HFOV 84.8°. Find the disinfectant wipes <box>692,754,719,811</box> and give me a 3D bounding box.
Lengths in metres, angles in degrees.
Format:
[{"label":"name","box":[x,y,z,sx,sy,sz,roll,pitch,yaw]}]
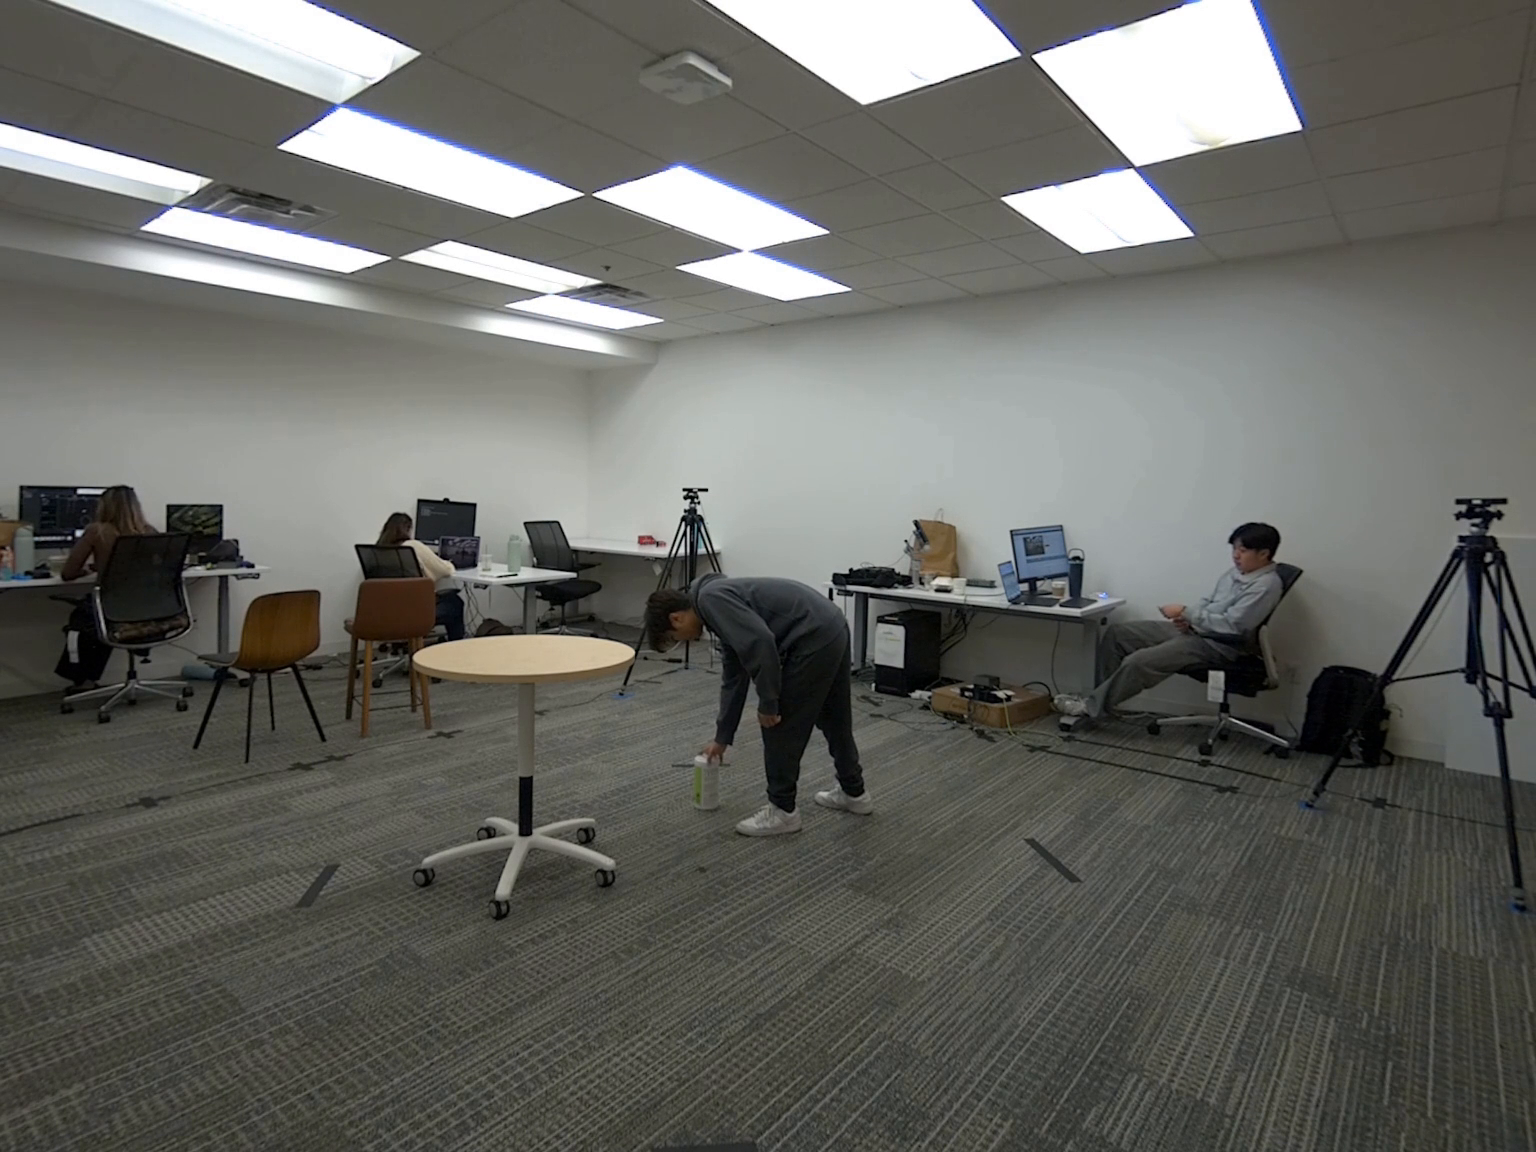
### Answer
[{"label":"disinfectant wipes","box":[-0.280,0.905,3.740,0.118,0.217,0.118,0,2,-2]}]
